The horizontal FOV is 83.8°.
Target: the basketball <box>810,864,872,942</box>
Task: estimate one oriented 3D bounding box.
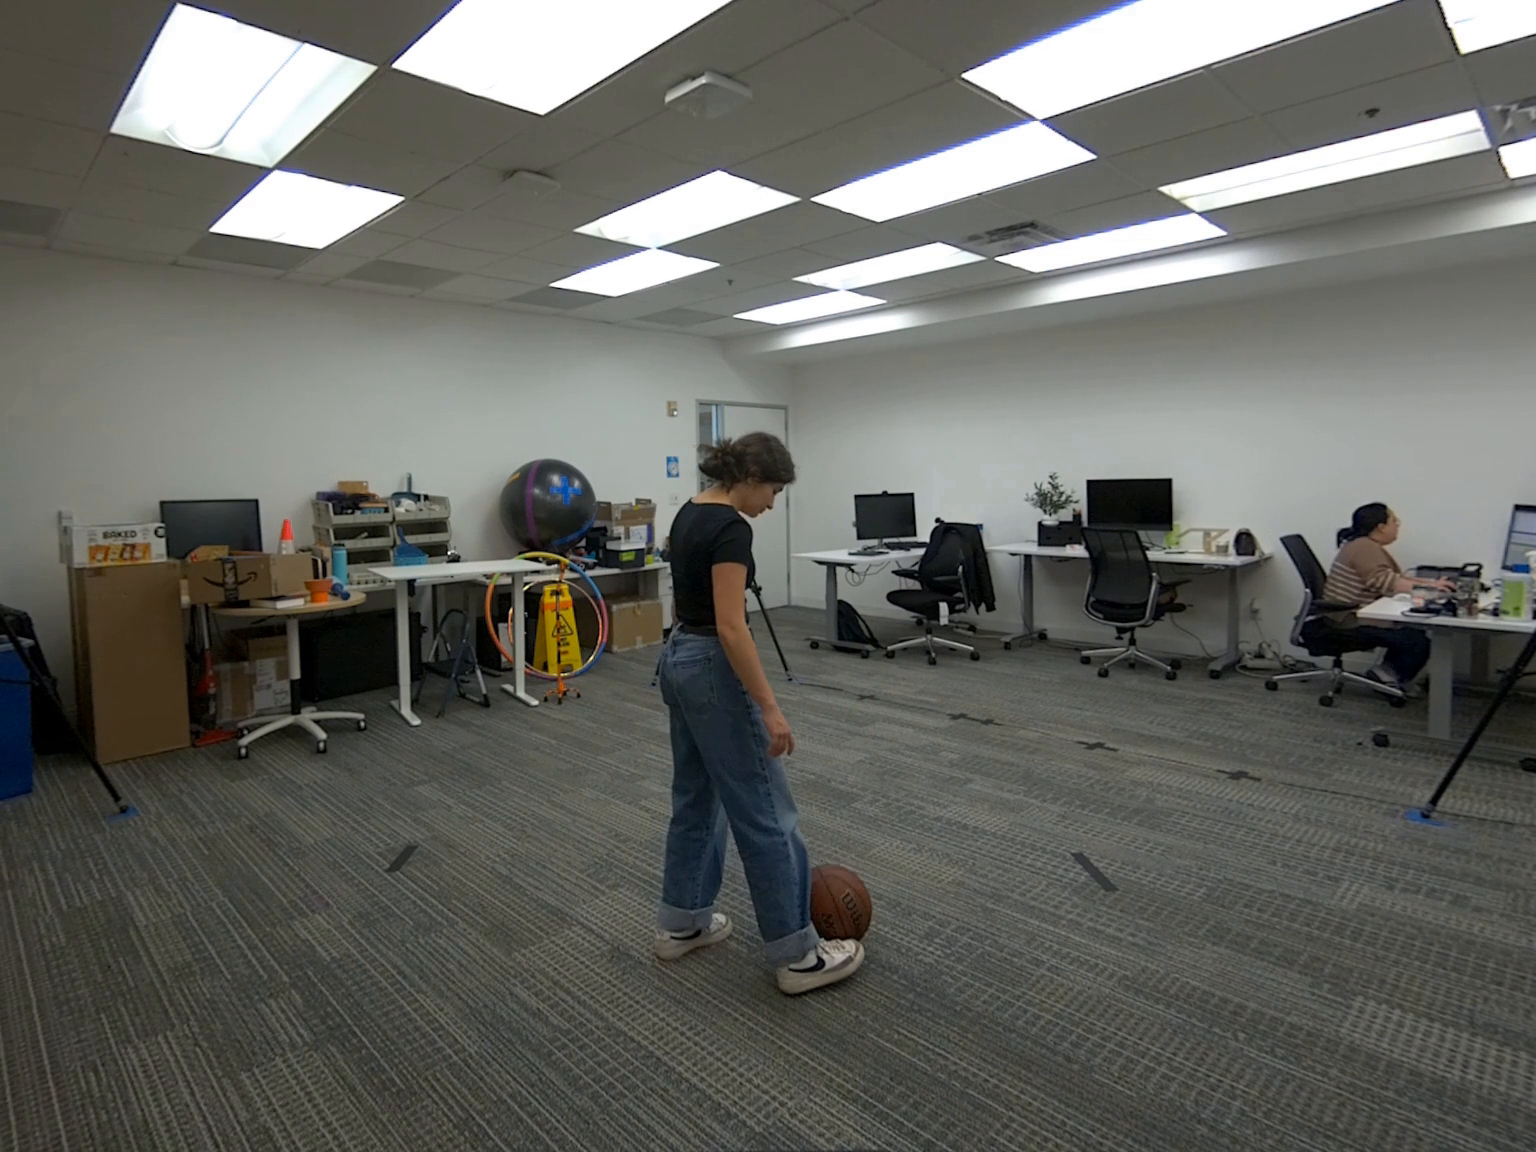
[{"bbox_3d":[0.194,0.979,2.546,0.236,0.235,0.237,-1,5,-2],"label":"basketball"}]
